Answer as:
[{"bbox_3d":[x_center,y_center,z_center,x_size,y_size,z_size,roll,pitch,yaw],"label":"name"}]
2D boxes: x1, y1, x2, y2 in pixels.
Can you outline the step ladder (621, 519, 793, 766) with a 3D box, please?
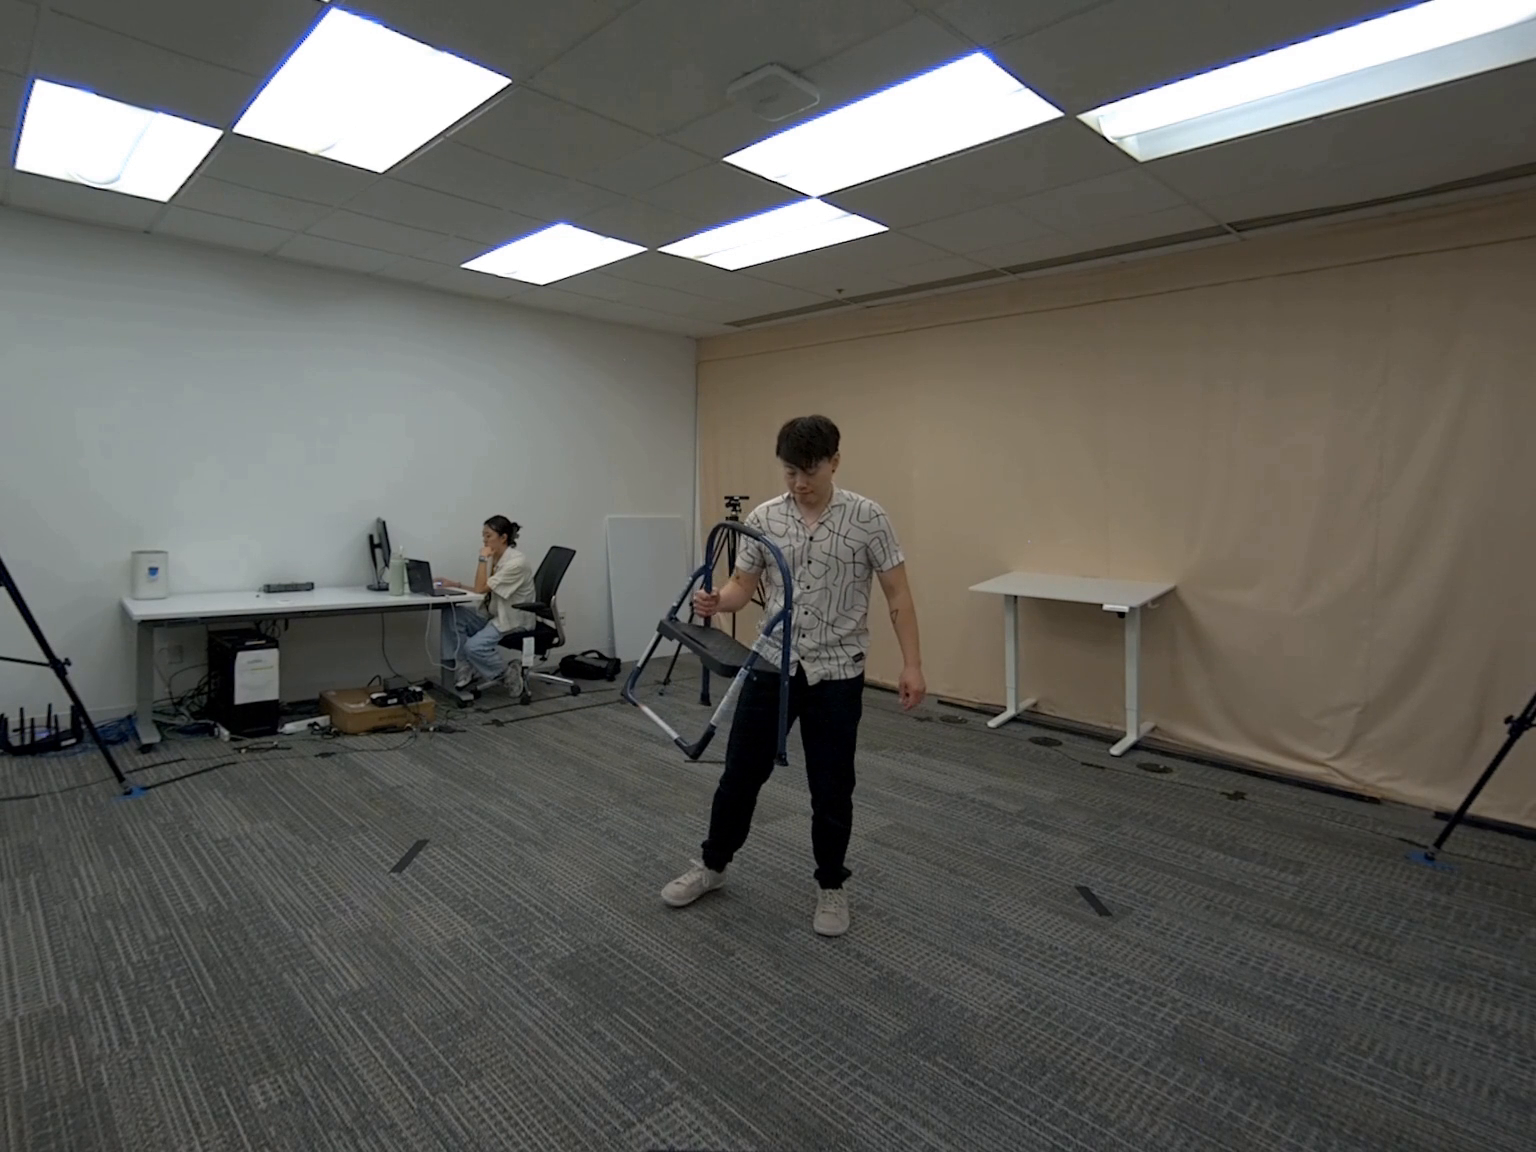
[{"bbox_3d":[-0.105,0.162,2.416,0.339,0.604,0.444,13,7,-41],"label":"step ladder"}]
